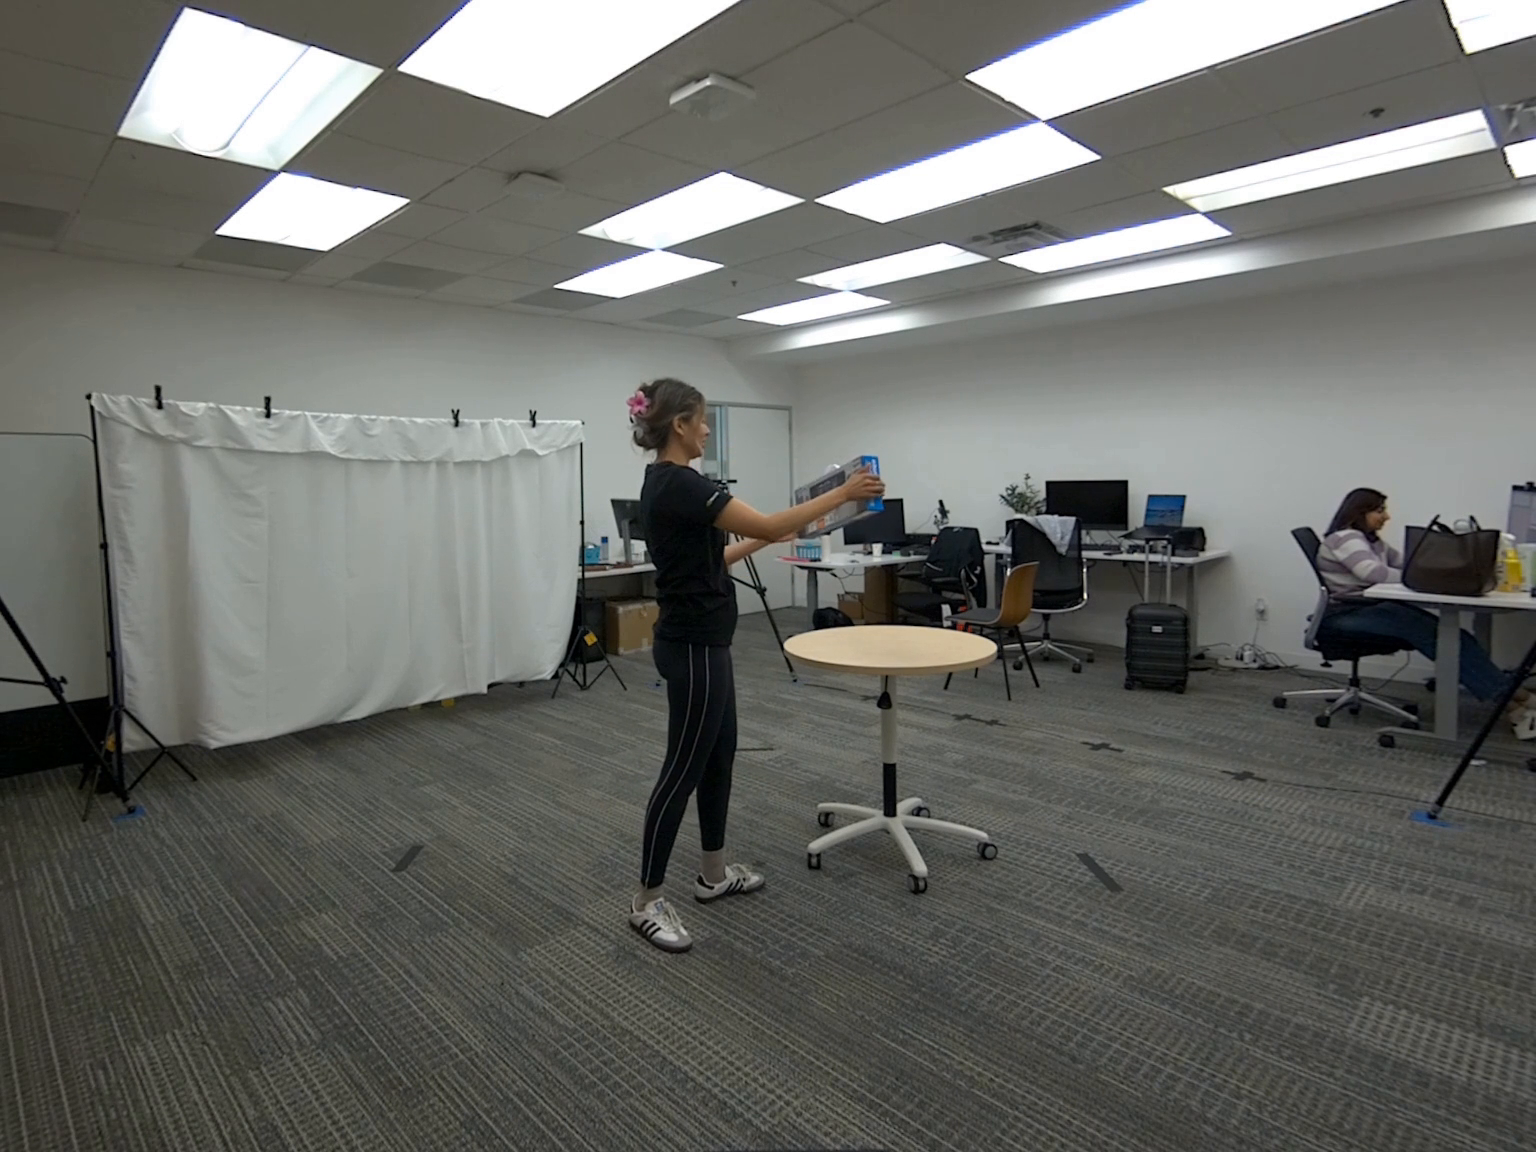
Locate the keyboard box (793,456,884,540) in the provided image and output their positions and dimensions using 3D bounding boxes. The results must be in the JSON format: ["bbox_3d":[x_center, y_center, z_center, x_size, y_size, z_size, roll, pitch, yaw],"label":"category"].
[{"bbox_3d":[0.217,-0.241,2.758,0.058,0.178,0.442,2,-11,-26],"label":"keyboard box"}]
